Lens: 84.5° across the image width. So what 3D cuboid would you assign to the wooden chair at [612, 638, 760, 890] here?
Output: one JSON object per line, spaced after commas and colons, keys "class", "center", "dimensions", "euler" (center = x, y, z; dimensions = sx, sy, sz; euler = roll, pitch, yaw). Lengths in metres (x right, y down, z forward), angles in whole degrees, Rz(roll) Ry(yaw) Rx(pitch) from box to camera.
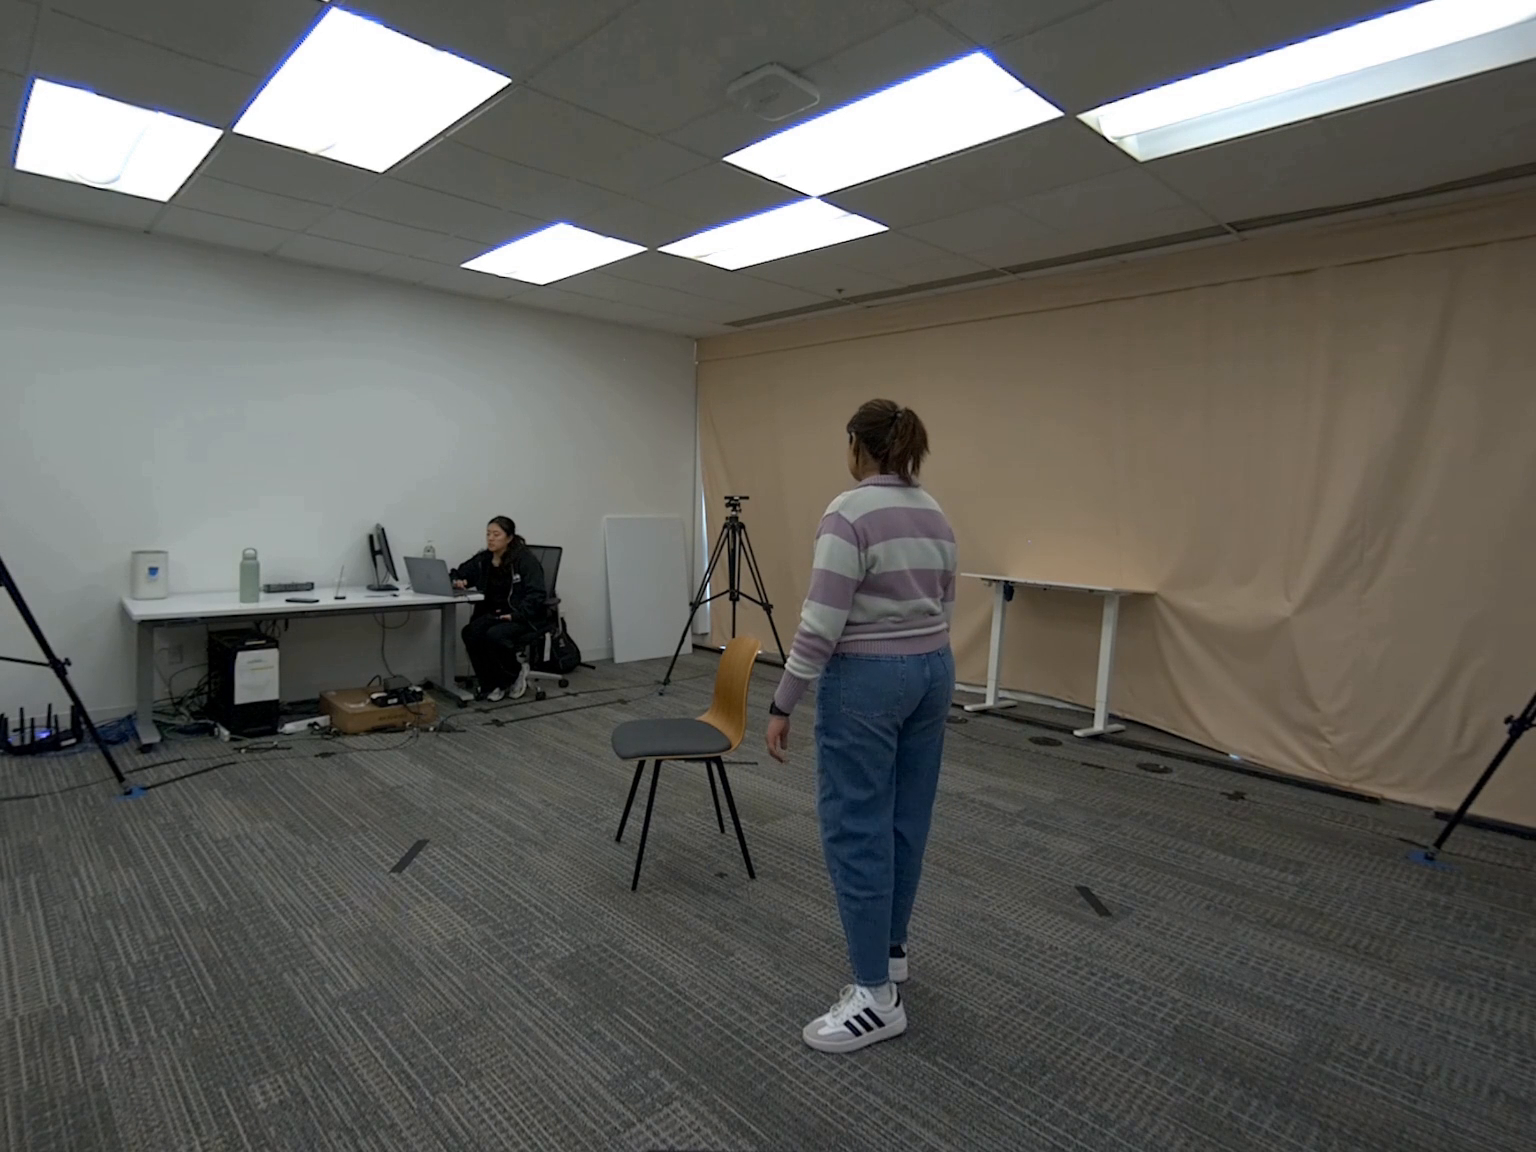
{"class": "wooden chair", "center": [-0.332, 0.663, 3.196], "dimensions": [0.516, 0.876, 0.485], "euler": [5, 3, -17]}
